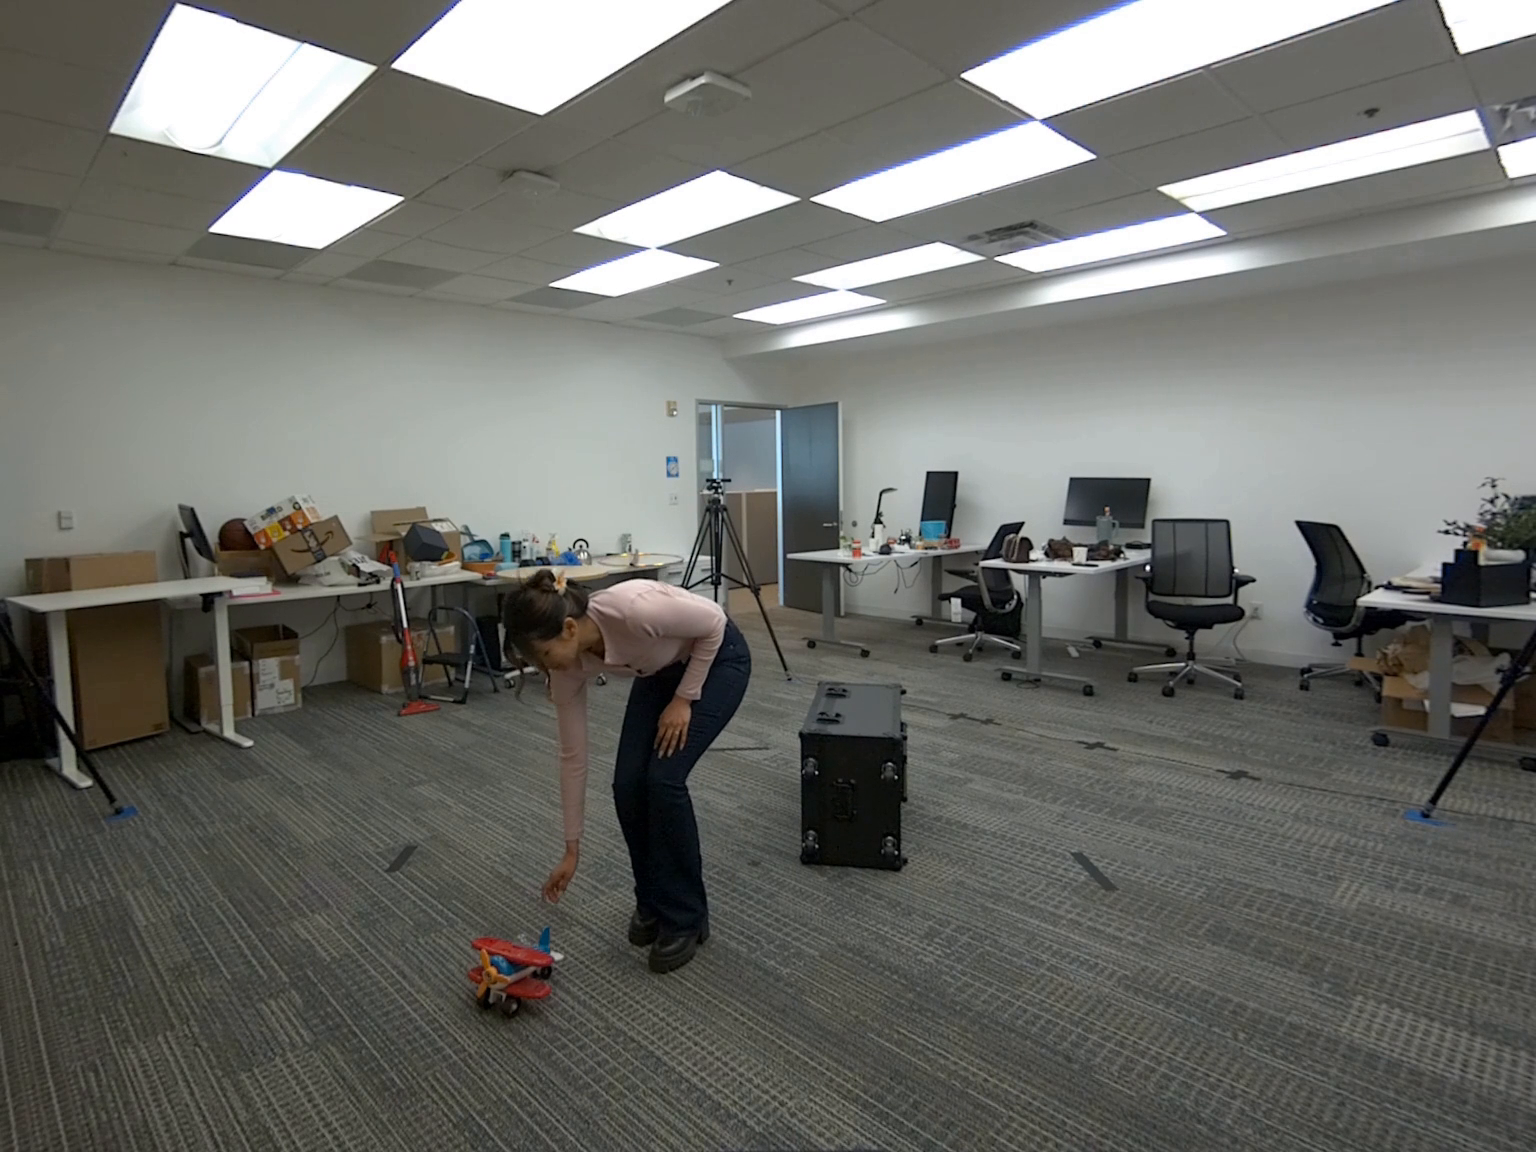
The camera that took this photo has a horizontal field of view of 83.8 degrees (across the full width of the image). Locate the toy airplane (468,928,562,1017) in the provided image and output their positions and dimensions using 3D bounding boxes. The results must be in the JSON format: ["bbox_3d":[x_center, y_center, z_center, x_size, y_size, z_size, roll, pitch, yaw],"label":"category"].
[{"bbox_3d":[-0.707,1.083,2.342,0.250,0.155,0.261,-2,6,-4],"label":"toy airplane"}]
